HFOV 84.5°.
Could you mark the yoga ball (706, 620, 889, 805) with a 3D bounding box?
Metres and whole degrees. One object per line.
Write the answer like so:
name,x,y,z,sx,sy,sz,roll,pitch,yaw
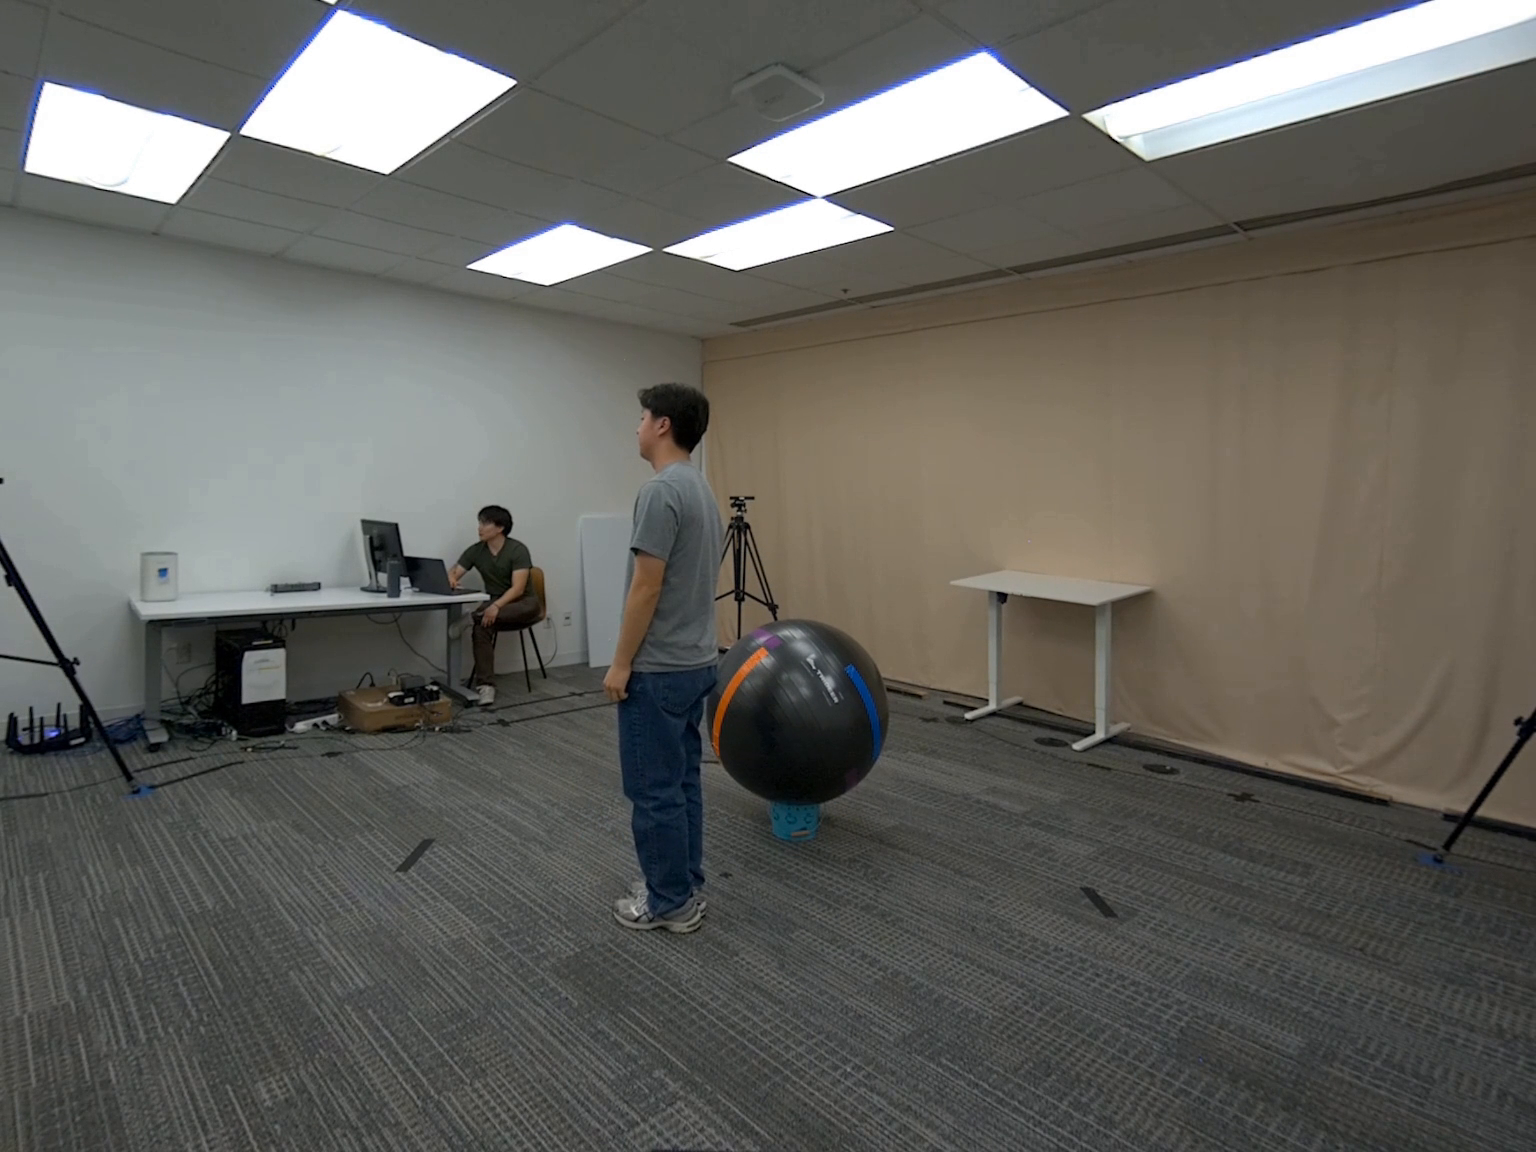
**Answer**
yoga ball,0.111,0.562,3.510,0.757,0.756,0.761,1,4,-1
